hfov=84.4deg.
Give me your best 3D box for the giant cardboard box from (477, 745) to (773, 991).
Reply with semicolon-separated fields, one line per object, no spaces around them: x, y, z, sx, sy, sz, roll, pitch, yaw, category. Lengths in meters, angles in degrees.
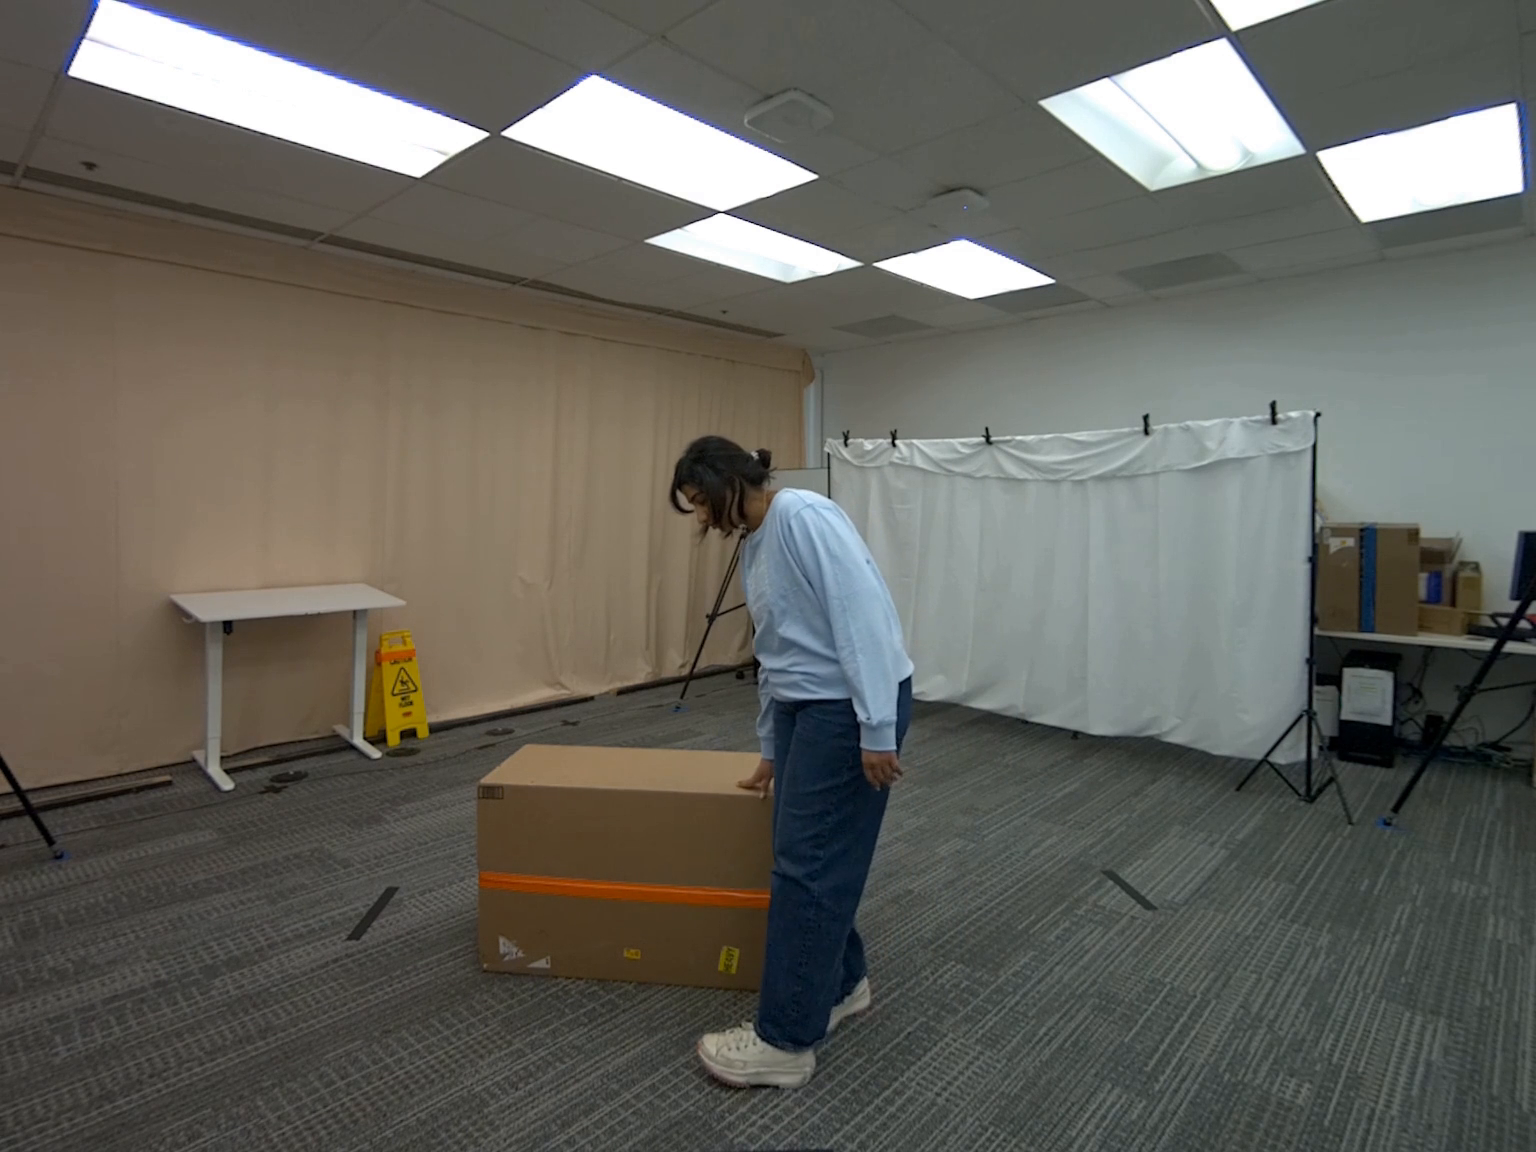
-0.342;0.885;2.647;1.034;0.576;0.424;1;4;7;giant cardboard box
